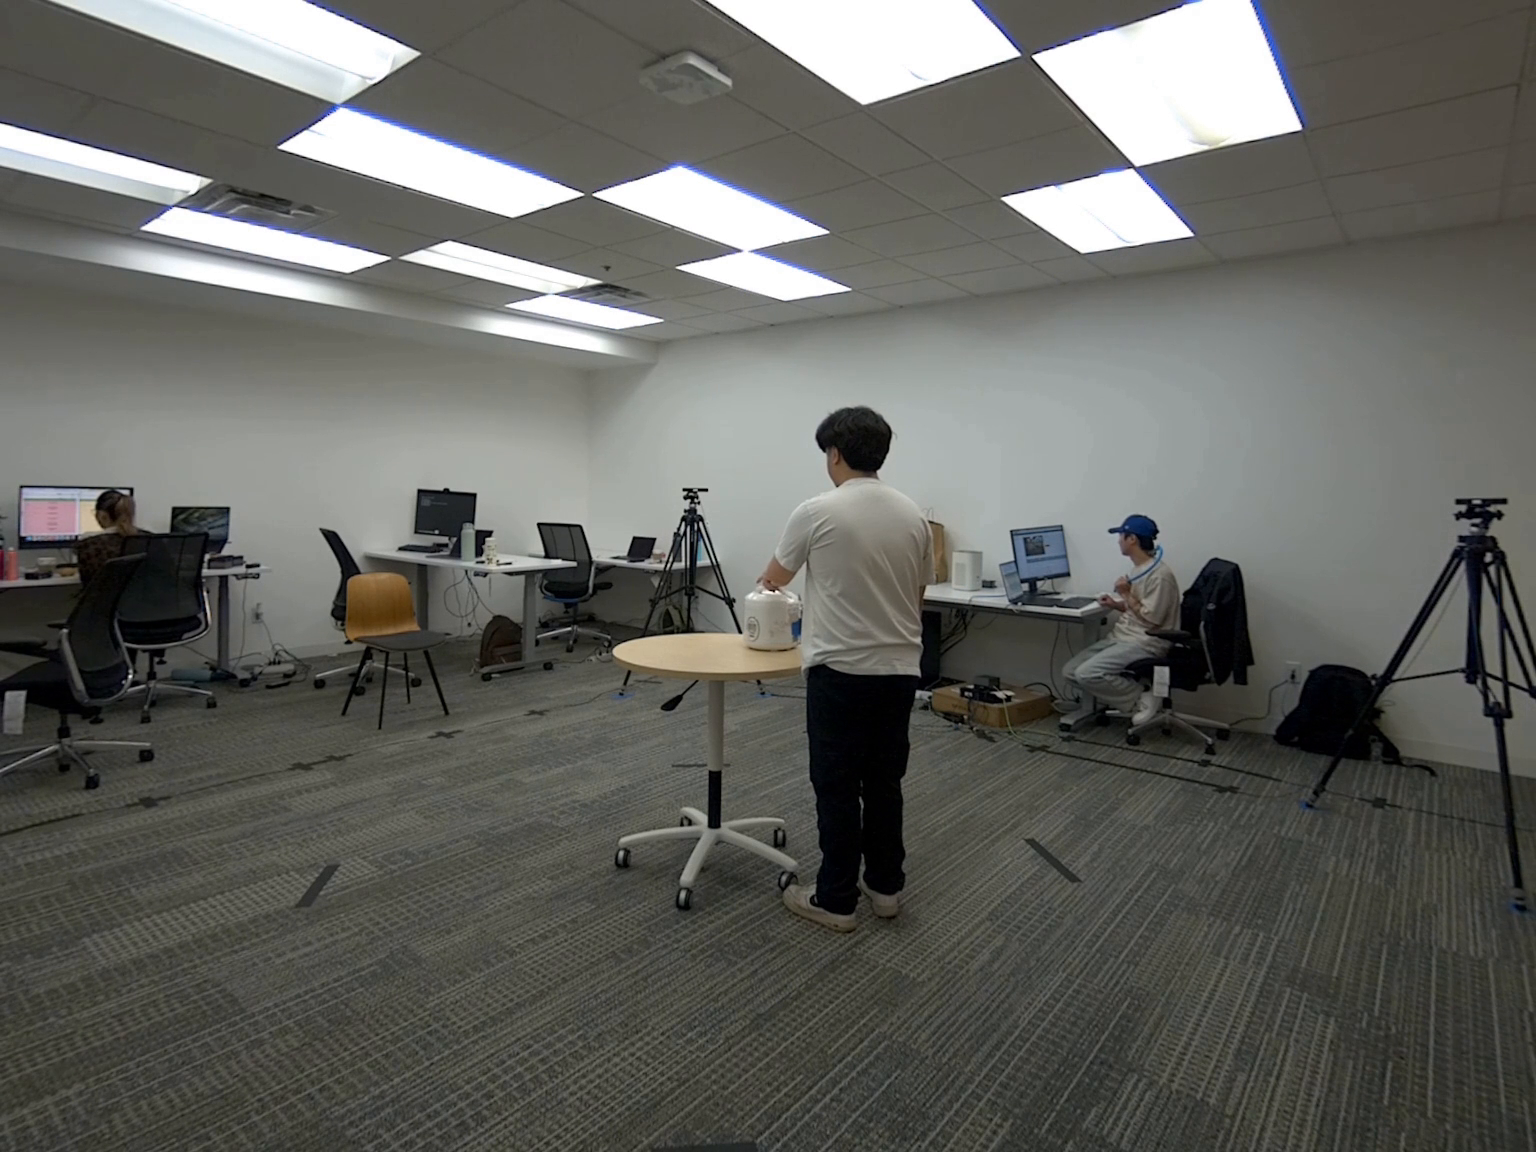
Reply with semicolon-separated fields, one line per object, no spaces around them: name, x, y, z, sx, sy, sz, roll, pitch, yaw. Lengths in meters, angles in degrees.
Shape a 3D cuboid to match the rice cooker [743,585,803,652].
rice cooker;0.005;0.148;3.202;0.228;0.232;0.211;4;5;42
